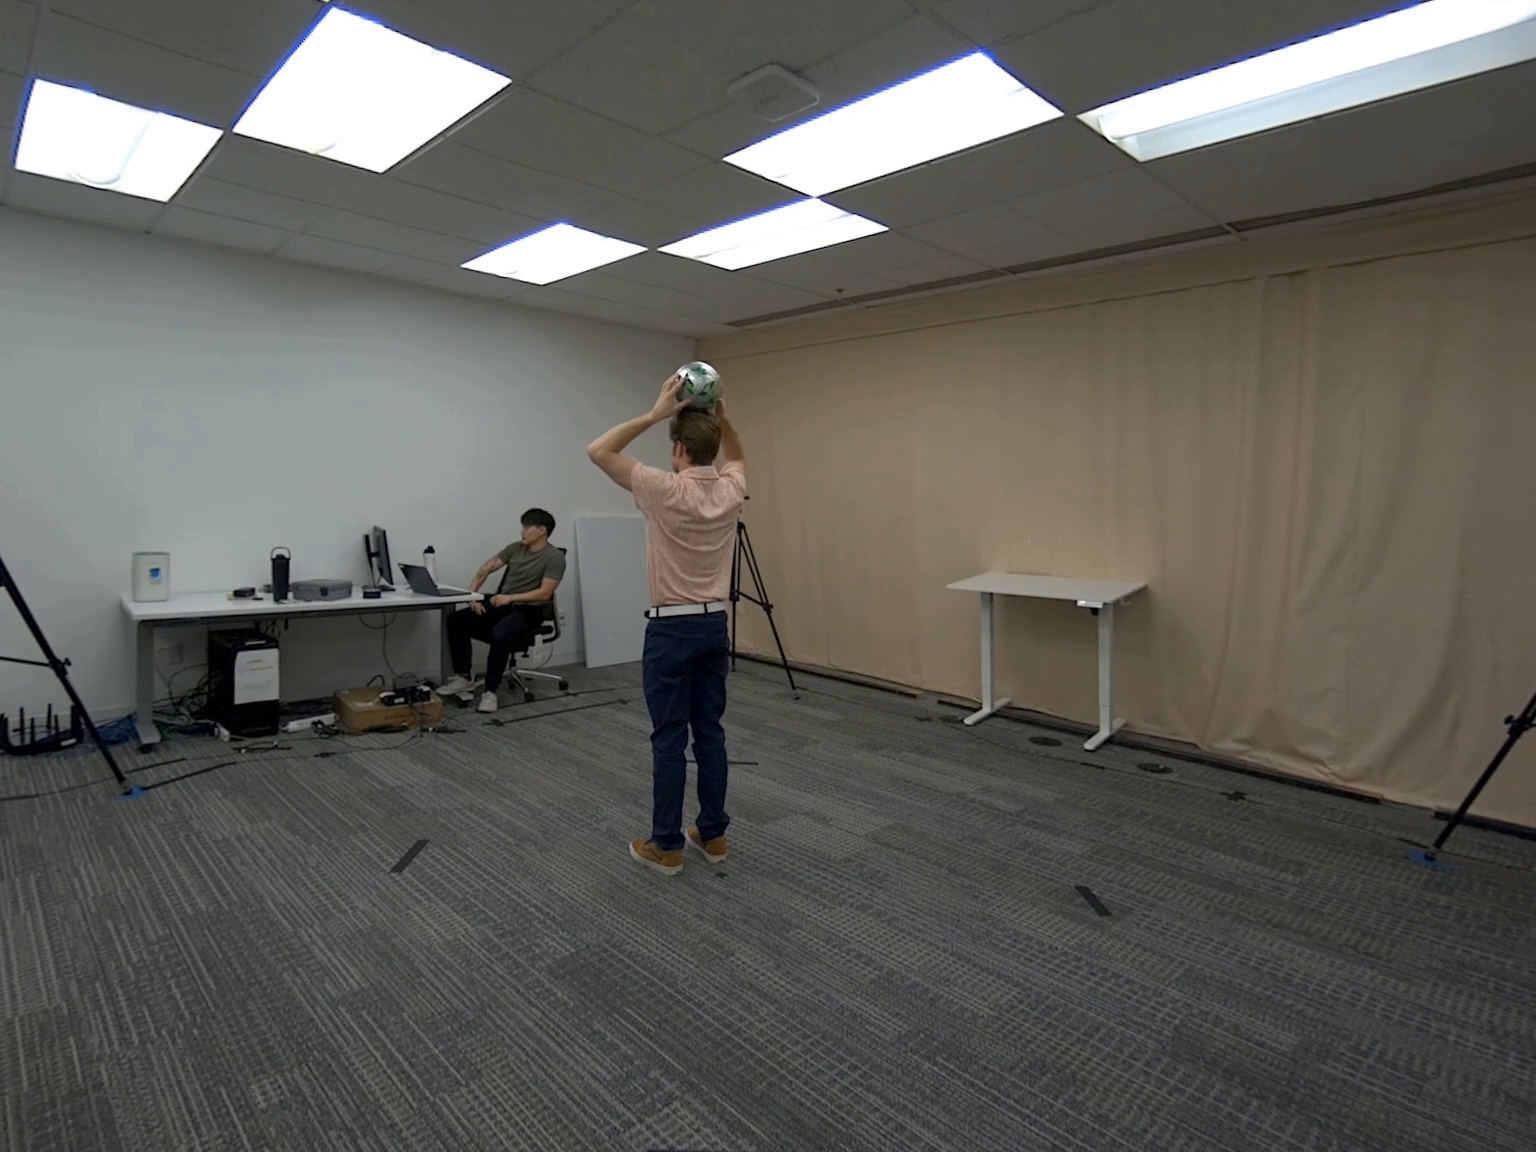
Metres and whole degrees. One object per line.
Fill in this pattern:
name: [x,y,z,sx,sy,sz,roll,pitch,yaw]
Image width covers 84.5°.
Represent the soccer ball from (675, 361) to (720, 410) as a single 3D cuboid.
soccer ball: [-0.279,-0.695,3.135,0.187,0.187,0.188,1,4,-1]
